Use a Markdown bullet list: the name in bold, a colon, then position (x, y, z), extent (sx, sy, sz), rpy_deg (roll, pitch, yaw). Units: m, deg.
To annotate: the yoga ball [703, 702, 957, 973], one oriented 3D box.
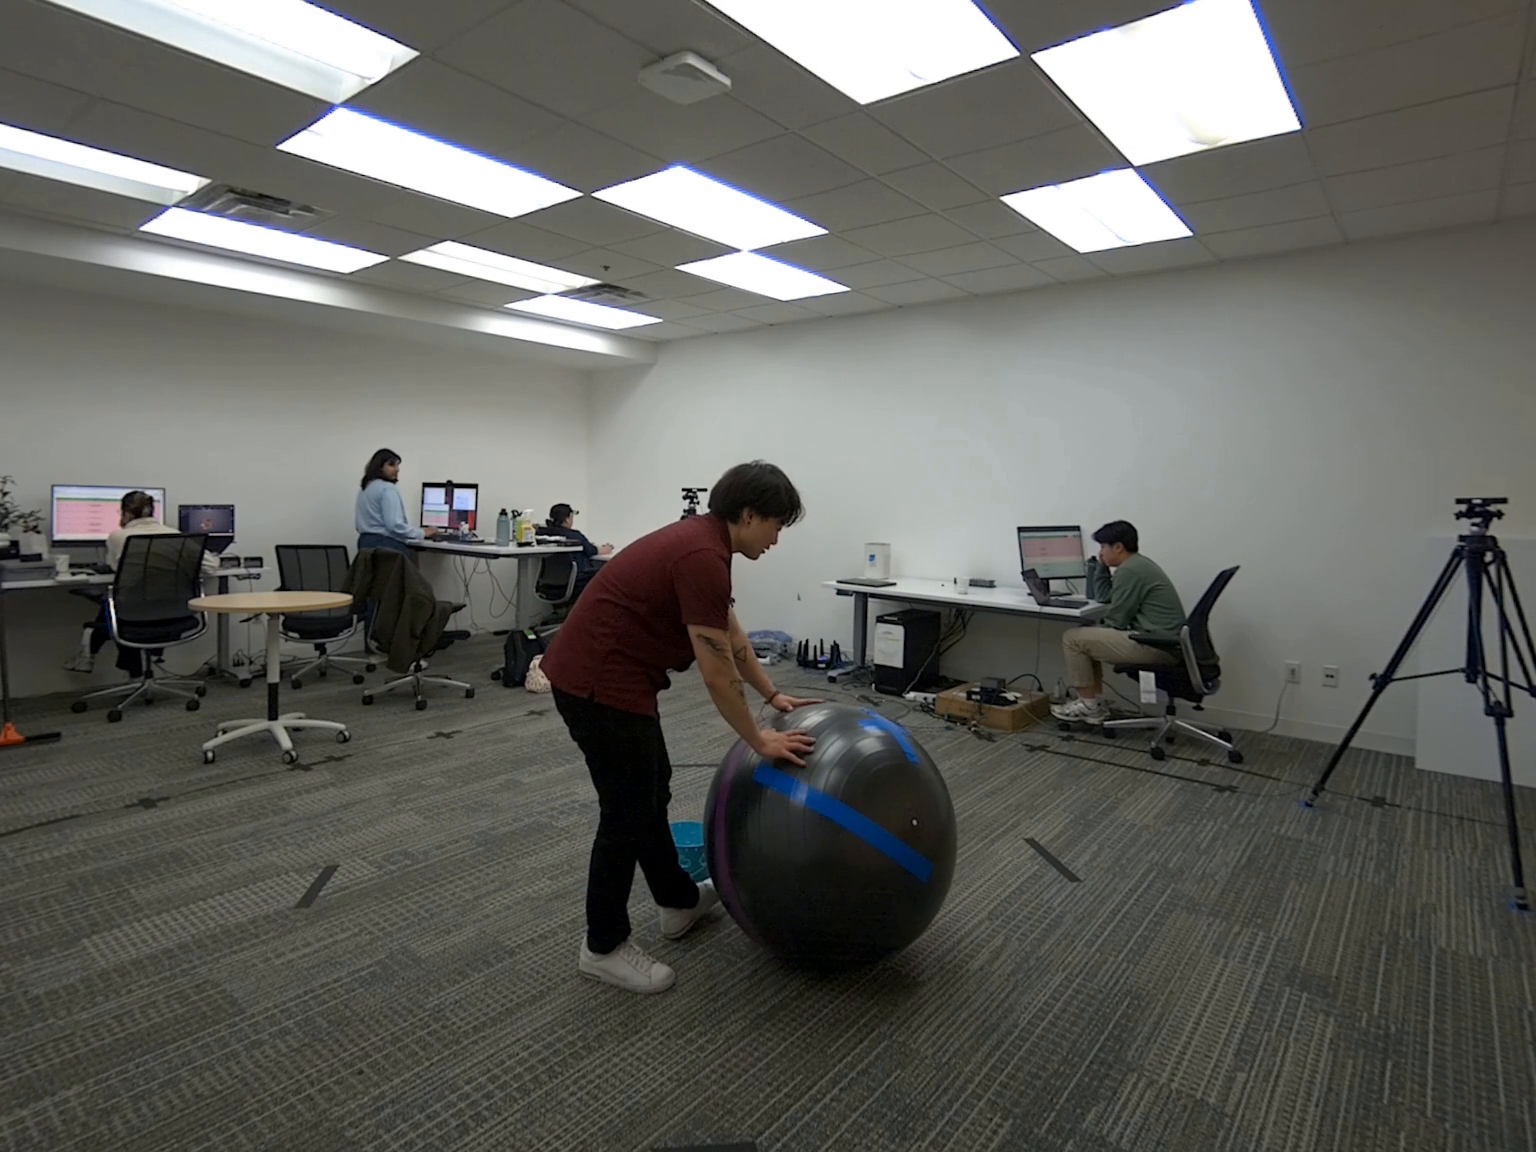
- **yoga ball**: position (0.182, 0.768, 2.567), extent (0.757, 0.755, 0.762), rpy_deg (1, 4, -2)
